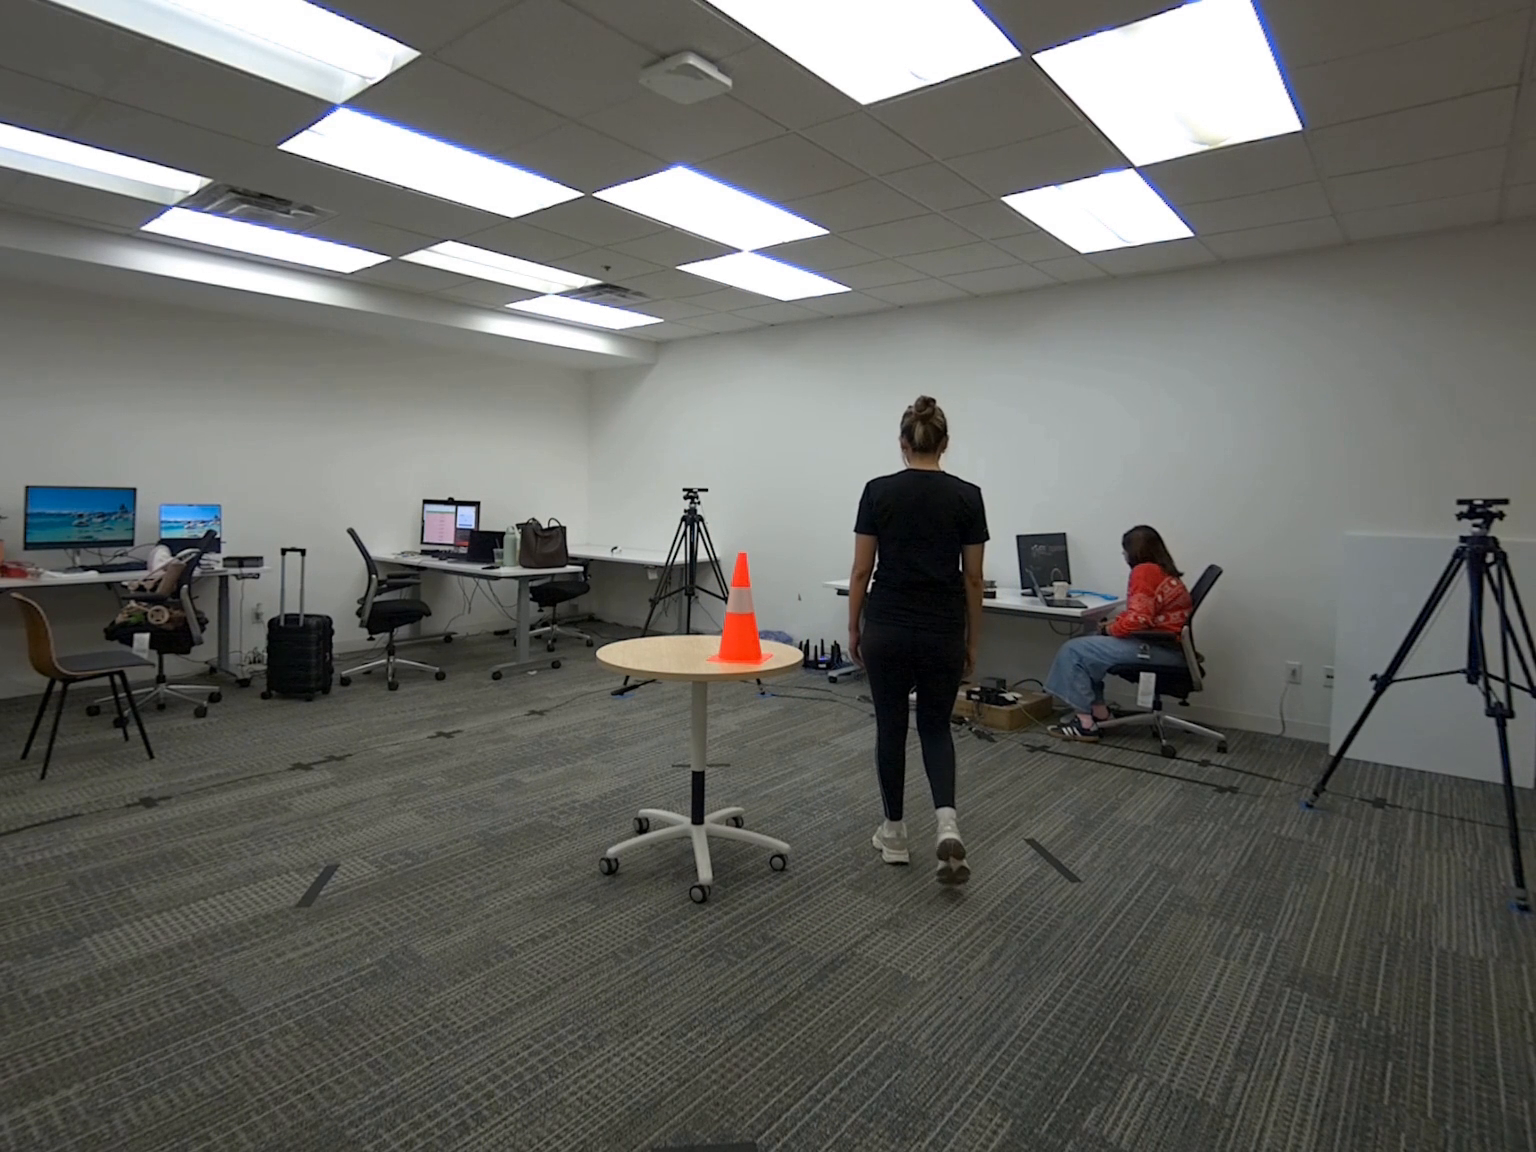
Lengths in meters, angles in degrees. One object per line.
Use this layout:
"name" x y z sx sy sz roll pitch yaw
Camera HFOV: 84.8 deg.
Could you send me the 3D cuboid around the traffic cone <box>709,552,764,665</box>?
"traffic cone" -0.103 0.107 3.049 0.209 0.383 0.200 2 3 15
